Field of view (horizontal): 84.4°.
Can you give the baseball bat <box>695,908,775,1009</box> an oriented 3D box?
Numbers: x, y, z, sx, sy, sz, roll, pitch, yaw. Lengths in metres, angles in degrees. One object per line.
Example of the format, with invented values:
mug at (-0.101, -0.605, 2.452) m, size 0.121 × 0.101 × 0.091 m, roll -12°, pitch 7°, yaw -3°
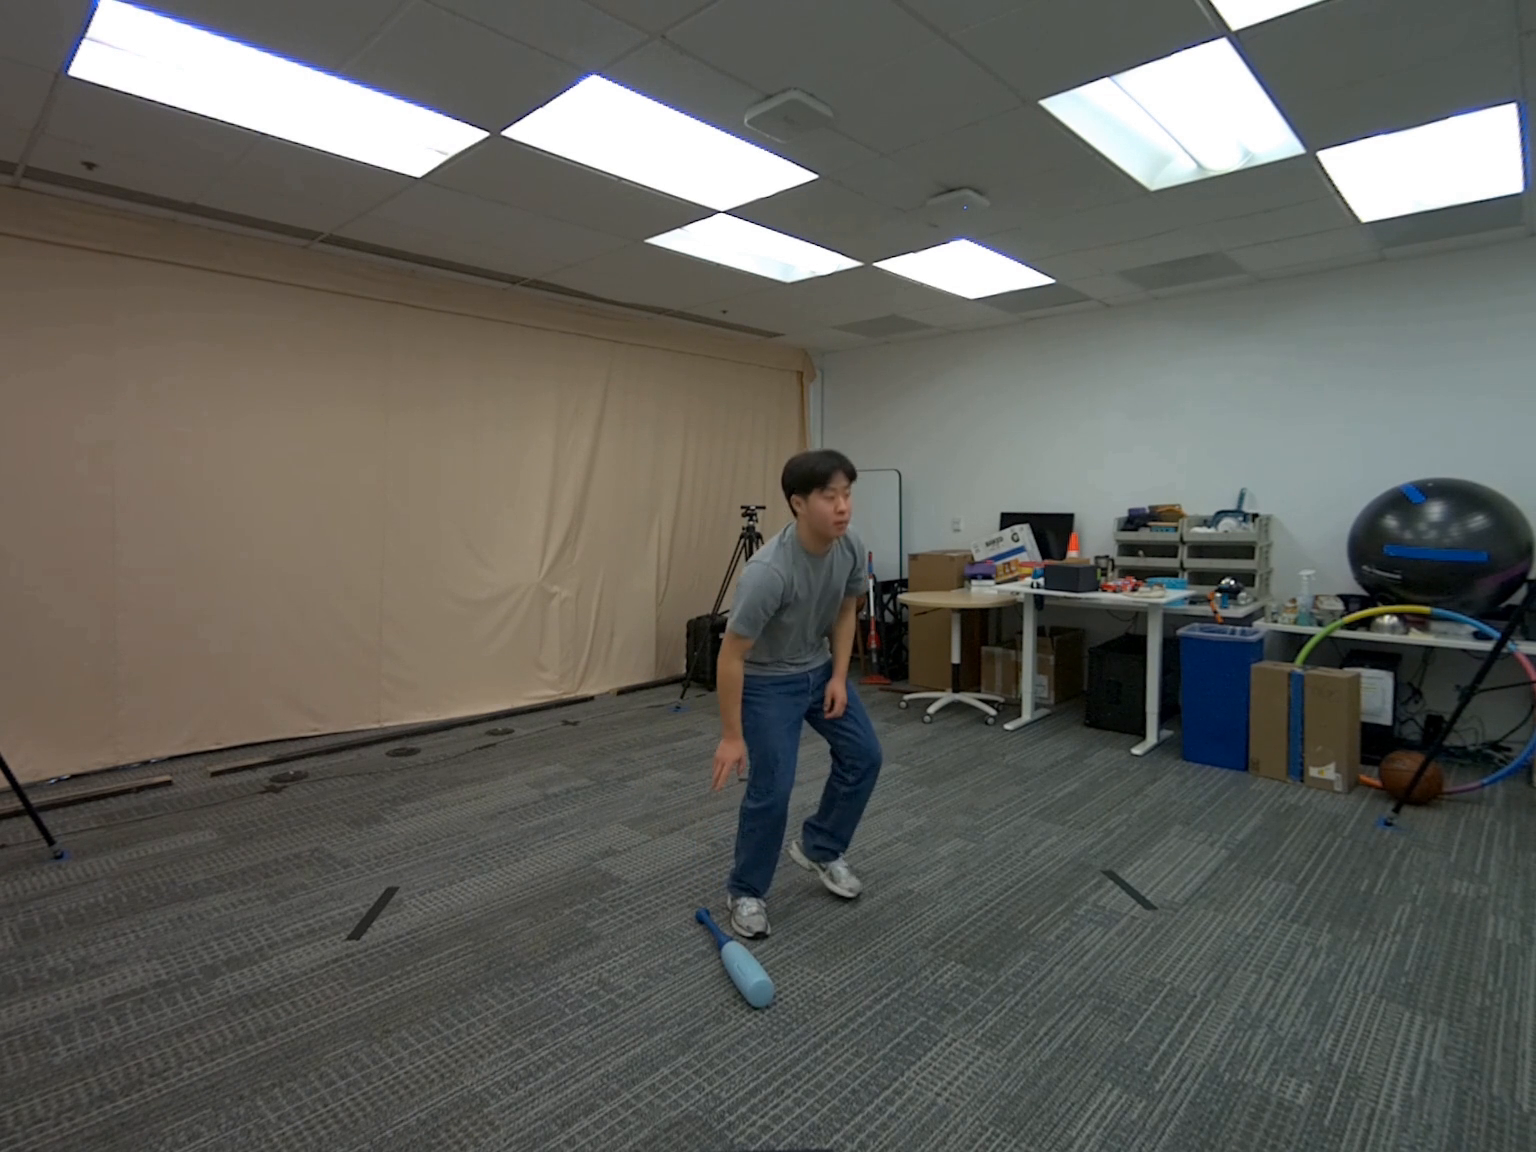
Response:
baseball bat at (-0.115, 1.139, 2.562) m, size 0.087 × 0.089 × 0.554 m, roll -1°, pitch 1°, yaw -21°
